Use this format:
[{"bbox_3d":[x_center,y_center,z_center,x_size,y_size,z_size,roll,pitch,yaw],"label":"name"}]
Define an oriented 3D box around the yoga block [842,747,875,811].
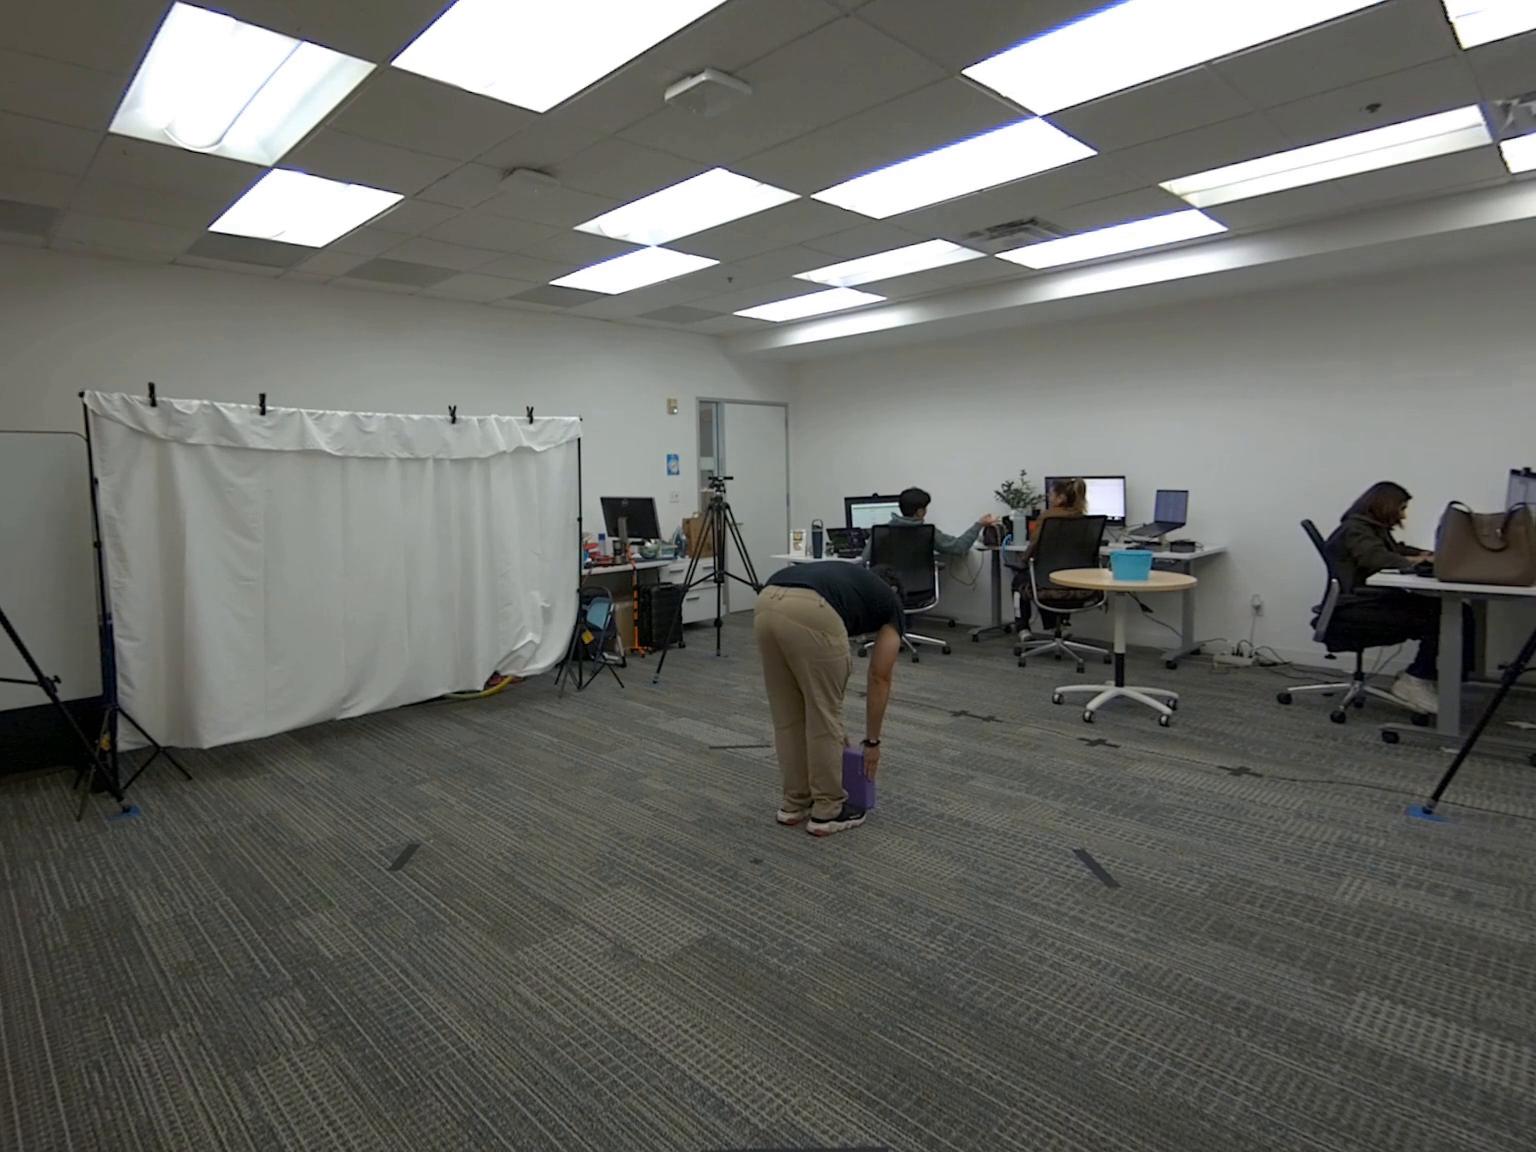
[{"bbox_3d":[0.375,0.857,3.622,0.074,0.229,0.153,-1,2,-43],"label":"yoga block"}]
